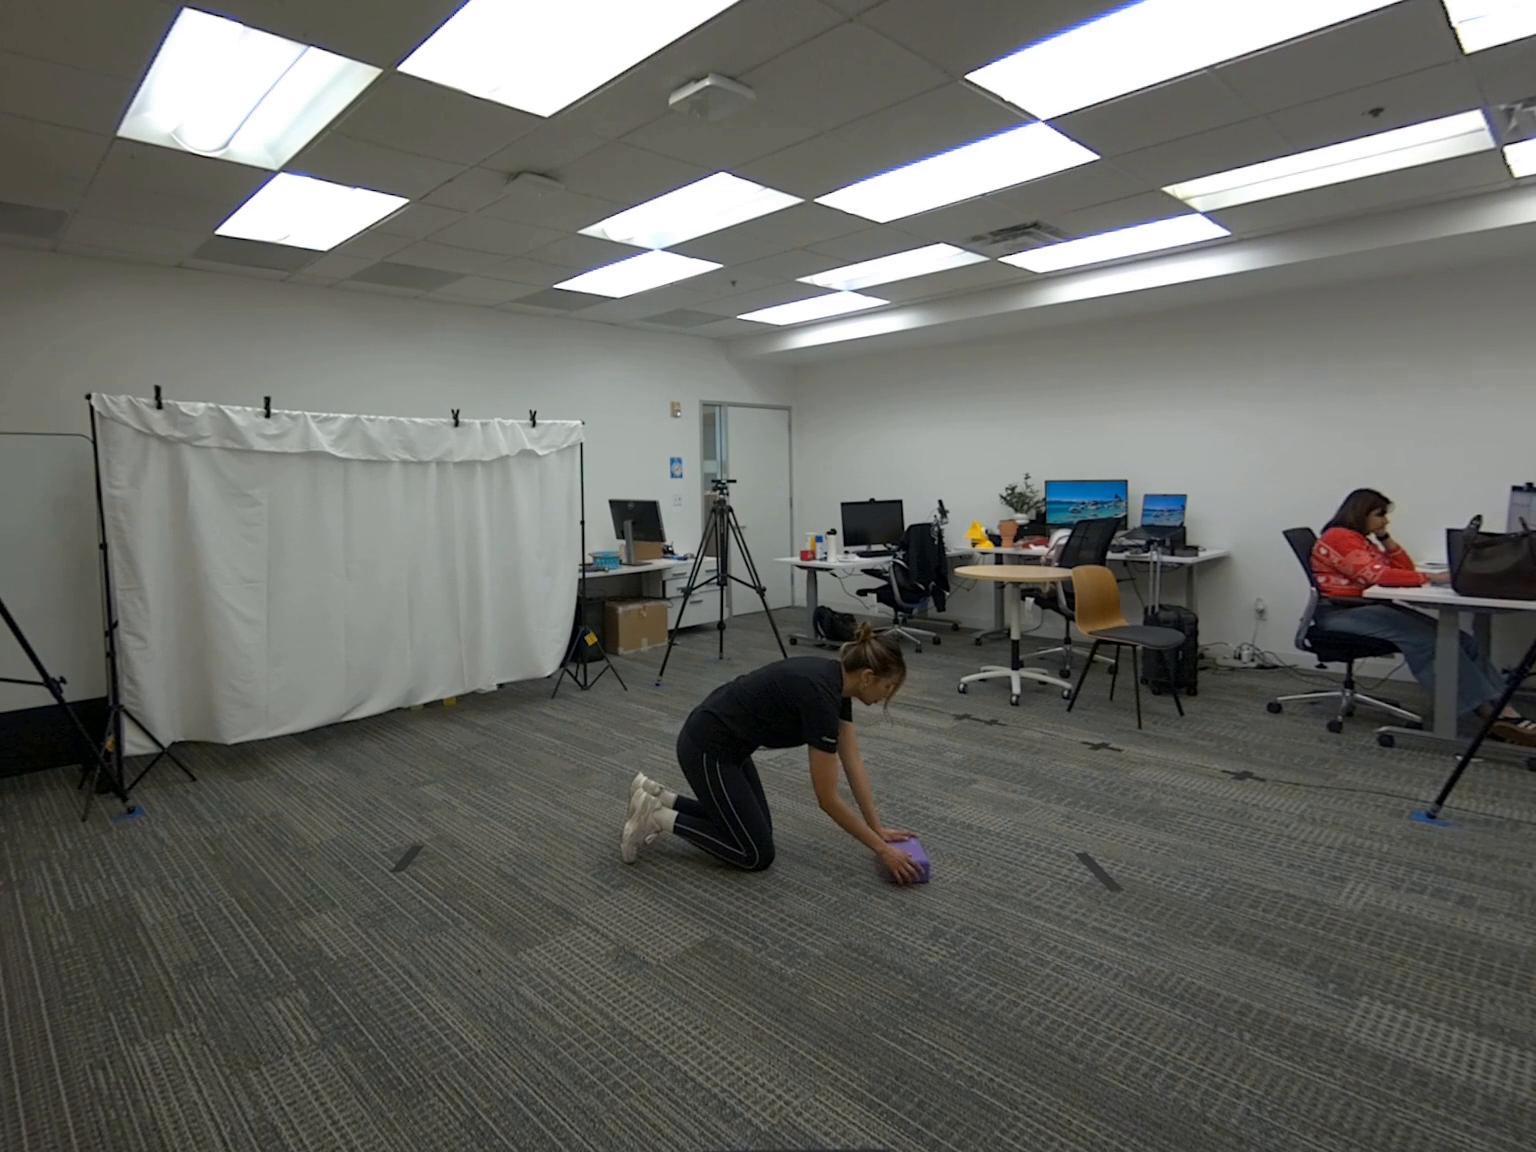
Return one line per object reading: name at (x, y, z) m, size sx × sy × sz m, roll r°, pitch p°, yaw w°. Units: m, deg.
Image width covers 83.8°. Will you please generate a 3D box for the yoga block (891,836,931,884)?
yoga block at (0.475, 1.000, 3.039) m, size 0.149 × 0.076 × 0.230 m, roll -1°, pitch 4°, yaw 0°
